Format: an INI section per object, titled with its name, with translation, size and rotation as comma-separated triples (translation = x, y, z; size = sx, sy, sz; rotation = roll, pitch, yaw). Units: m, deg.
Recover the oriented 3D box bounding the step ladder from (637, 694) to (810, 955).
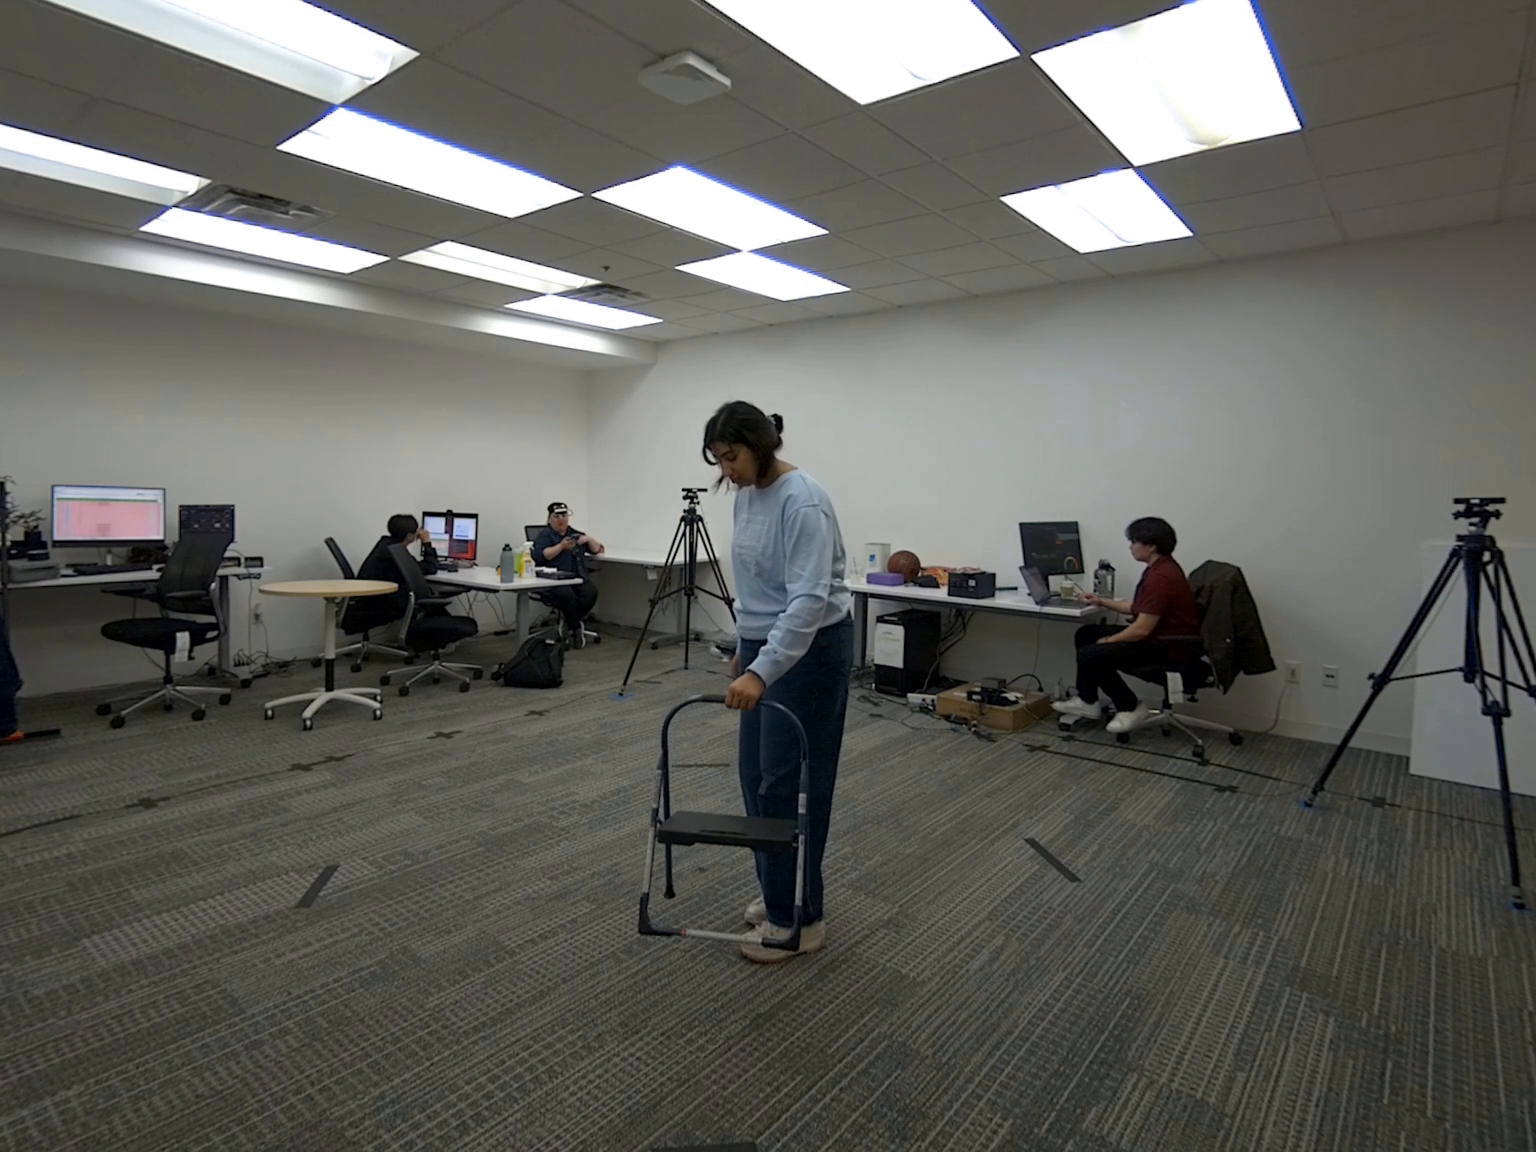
[step ladder]
translation = -0.109, 0.631, 2.321
size = 0.435, 0.610, 0.344
rotation = 0, -6, 8
